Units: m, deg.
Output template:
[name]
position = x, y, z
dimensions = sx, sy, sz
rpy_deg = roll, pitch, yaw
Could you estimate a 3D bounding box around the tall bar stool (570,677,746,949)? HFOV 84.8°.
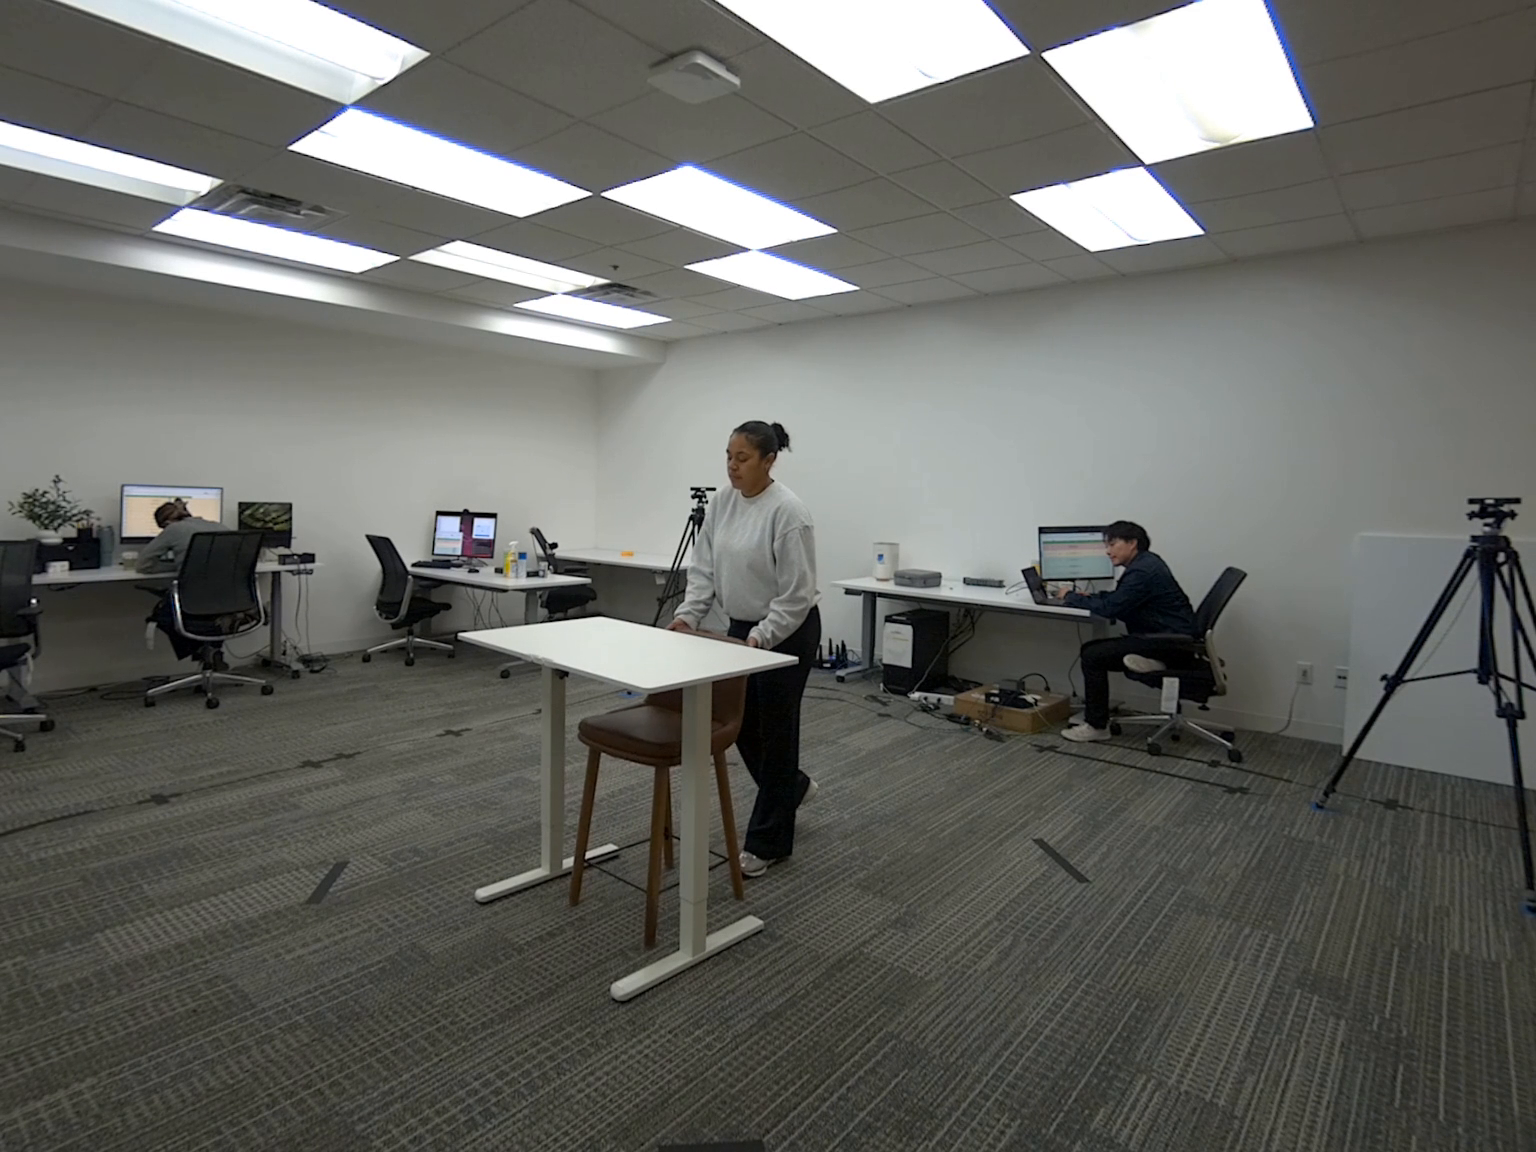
[tall bar stool]
position = -0.361, 0.655, 2.834
dimensions = 0.472, 0.888, 0.452
rpy_deg = 4, 2, 42
